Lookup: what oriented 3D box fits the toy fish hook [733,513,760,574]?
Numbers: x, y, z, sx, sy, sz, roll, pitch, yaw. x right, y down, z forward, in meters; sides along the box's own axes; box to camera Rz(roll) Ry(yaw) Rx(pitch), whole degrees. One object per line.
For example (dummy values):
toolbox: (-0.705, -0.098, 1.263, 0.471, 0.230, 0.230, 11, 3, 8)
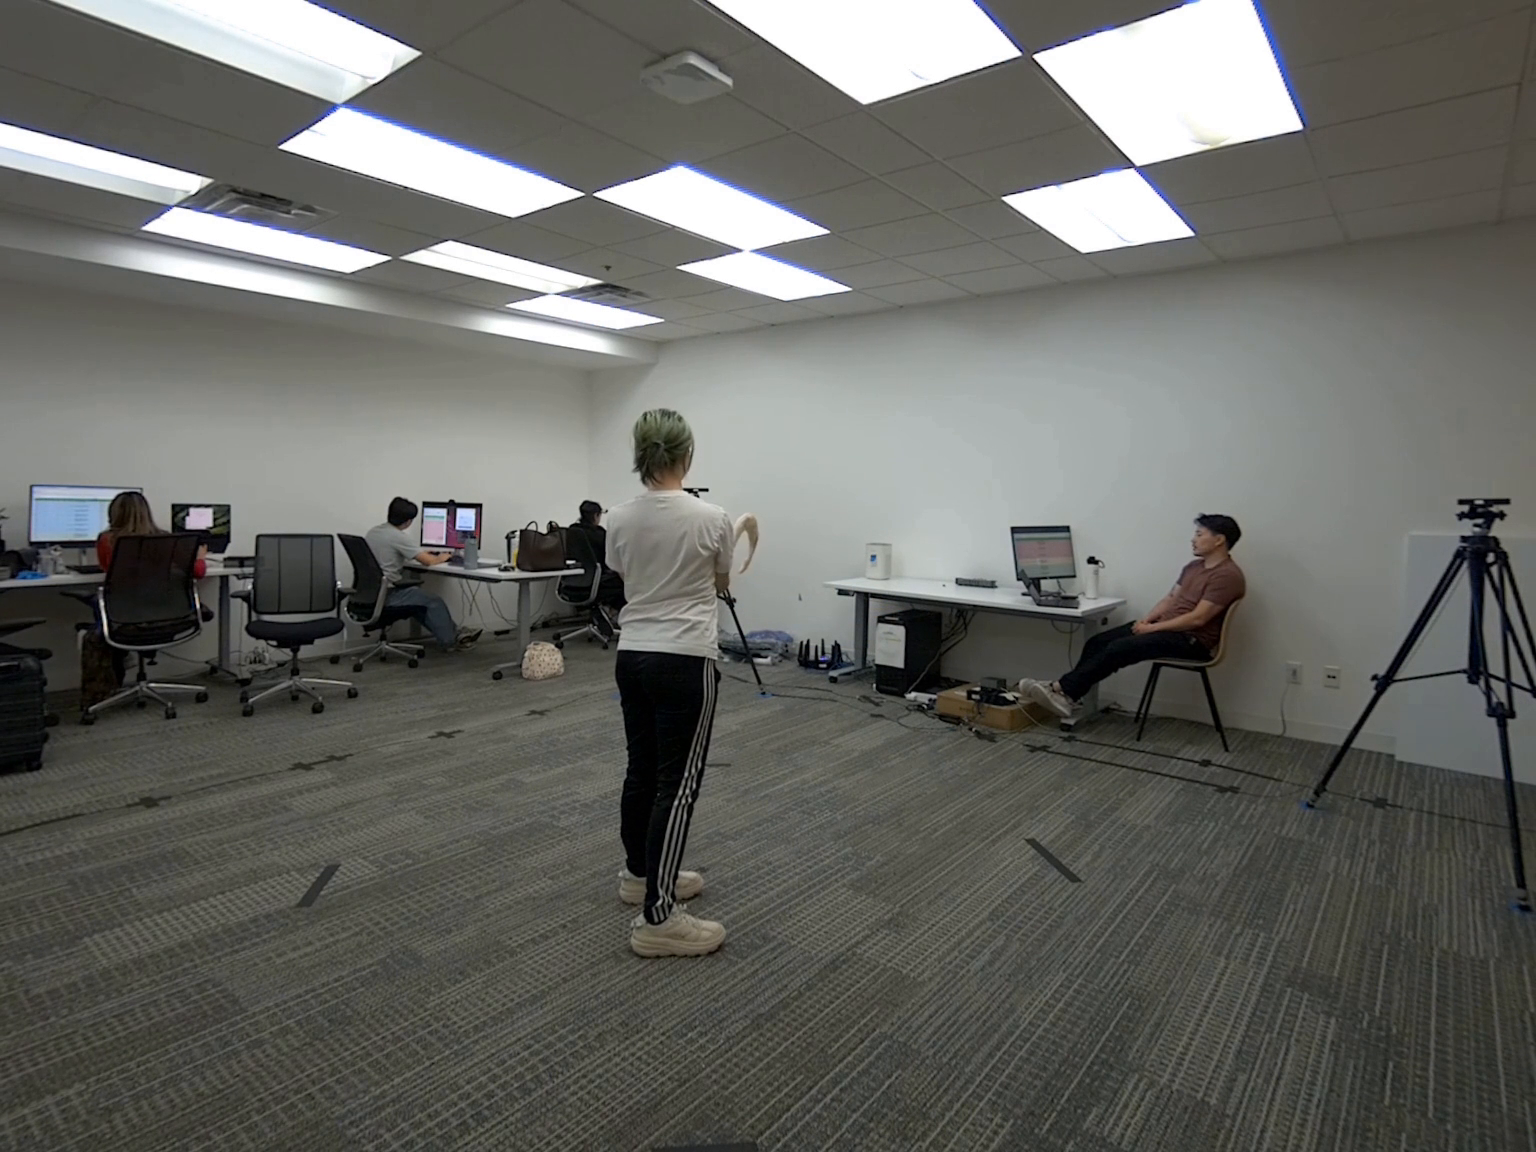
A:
toy fish hook: (-0.151, -0.021, 3.249, 0.050, 0.216, 0.510, 7, 49, 29)
